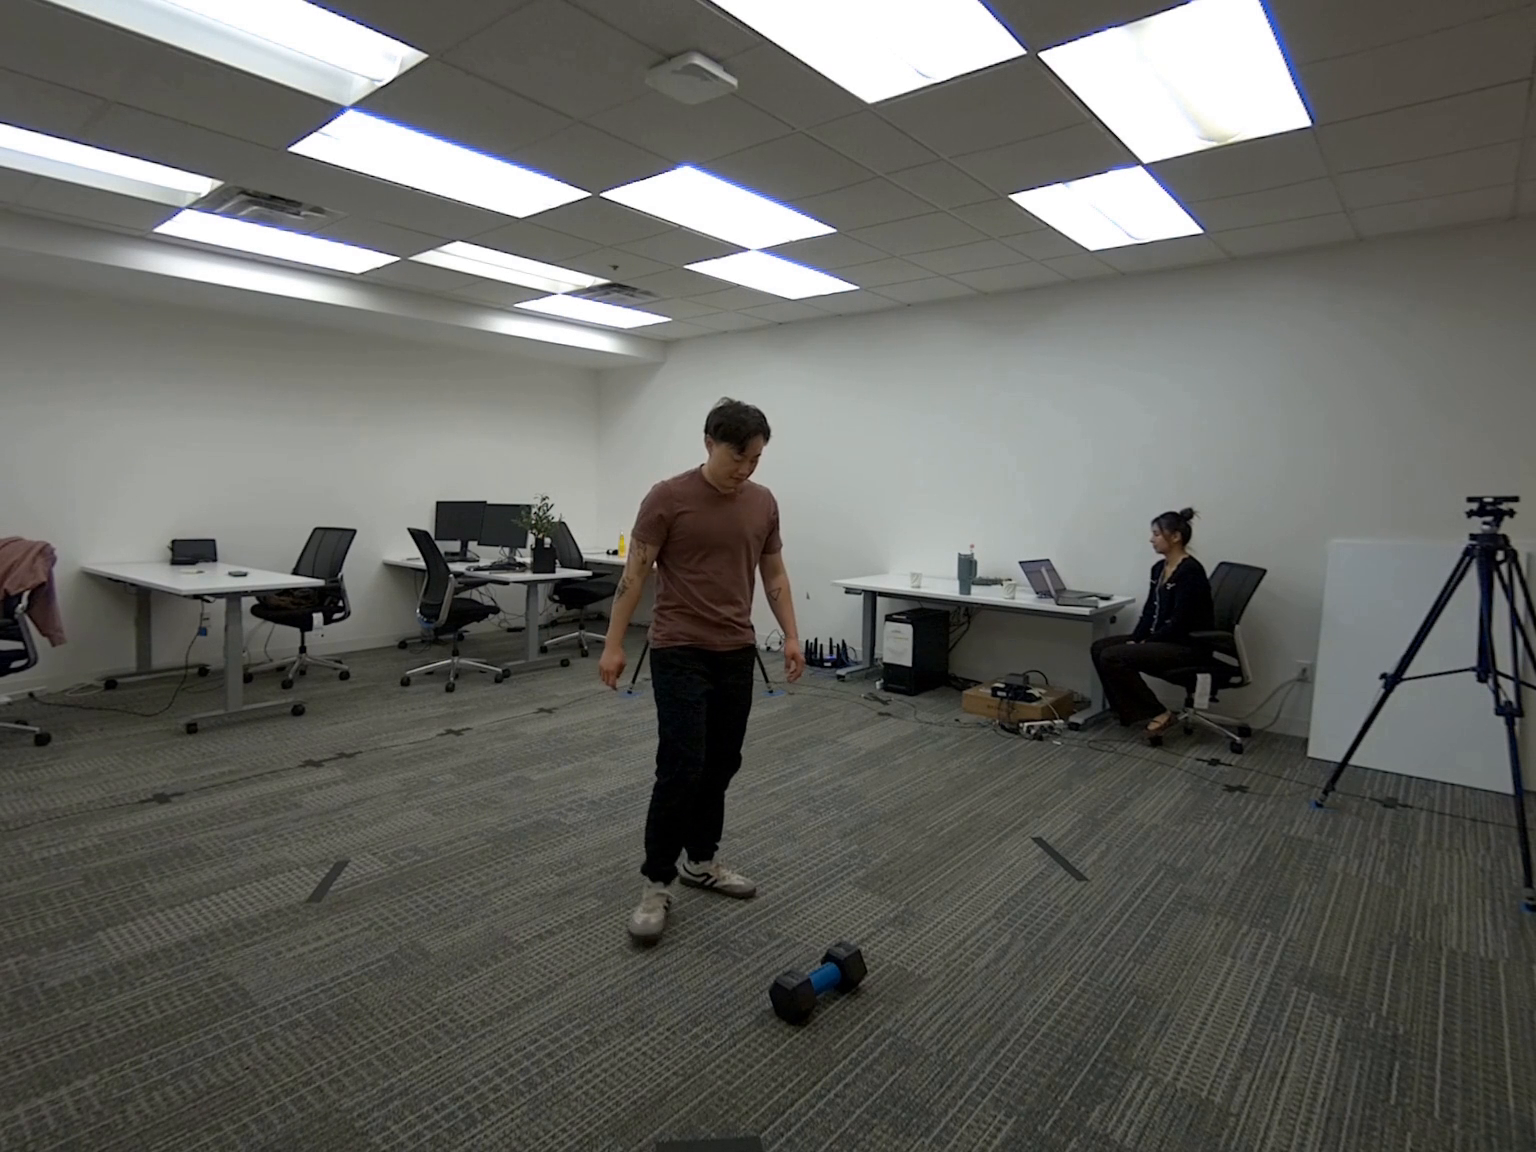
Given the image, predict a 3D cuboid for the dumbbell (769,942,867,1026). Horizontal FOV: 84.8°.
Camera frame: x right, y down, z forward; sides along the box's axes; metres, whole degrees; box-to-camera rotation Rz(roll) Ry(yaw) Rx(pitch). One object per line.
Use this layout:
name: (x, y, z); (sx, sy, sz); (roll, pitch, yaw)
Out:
dumbbell: (0.134, 1.098, 2.315); (0.285, 0.108, 0.127); (-4, 7, -44)
